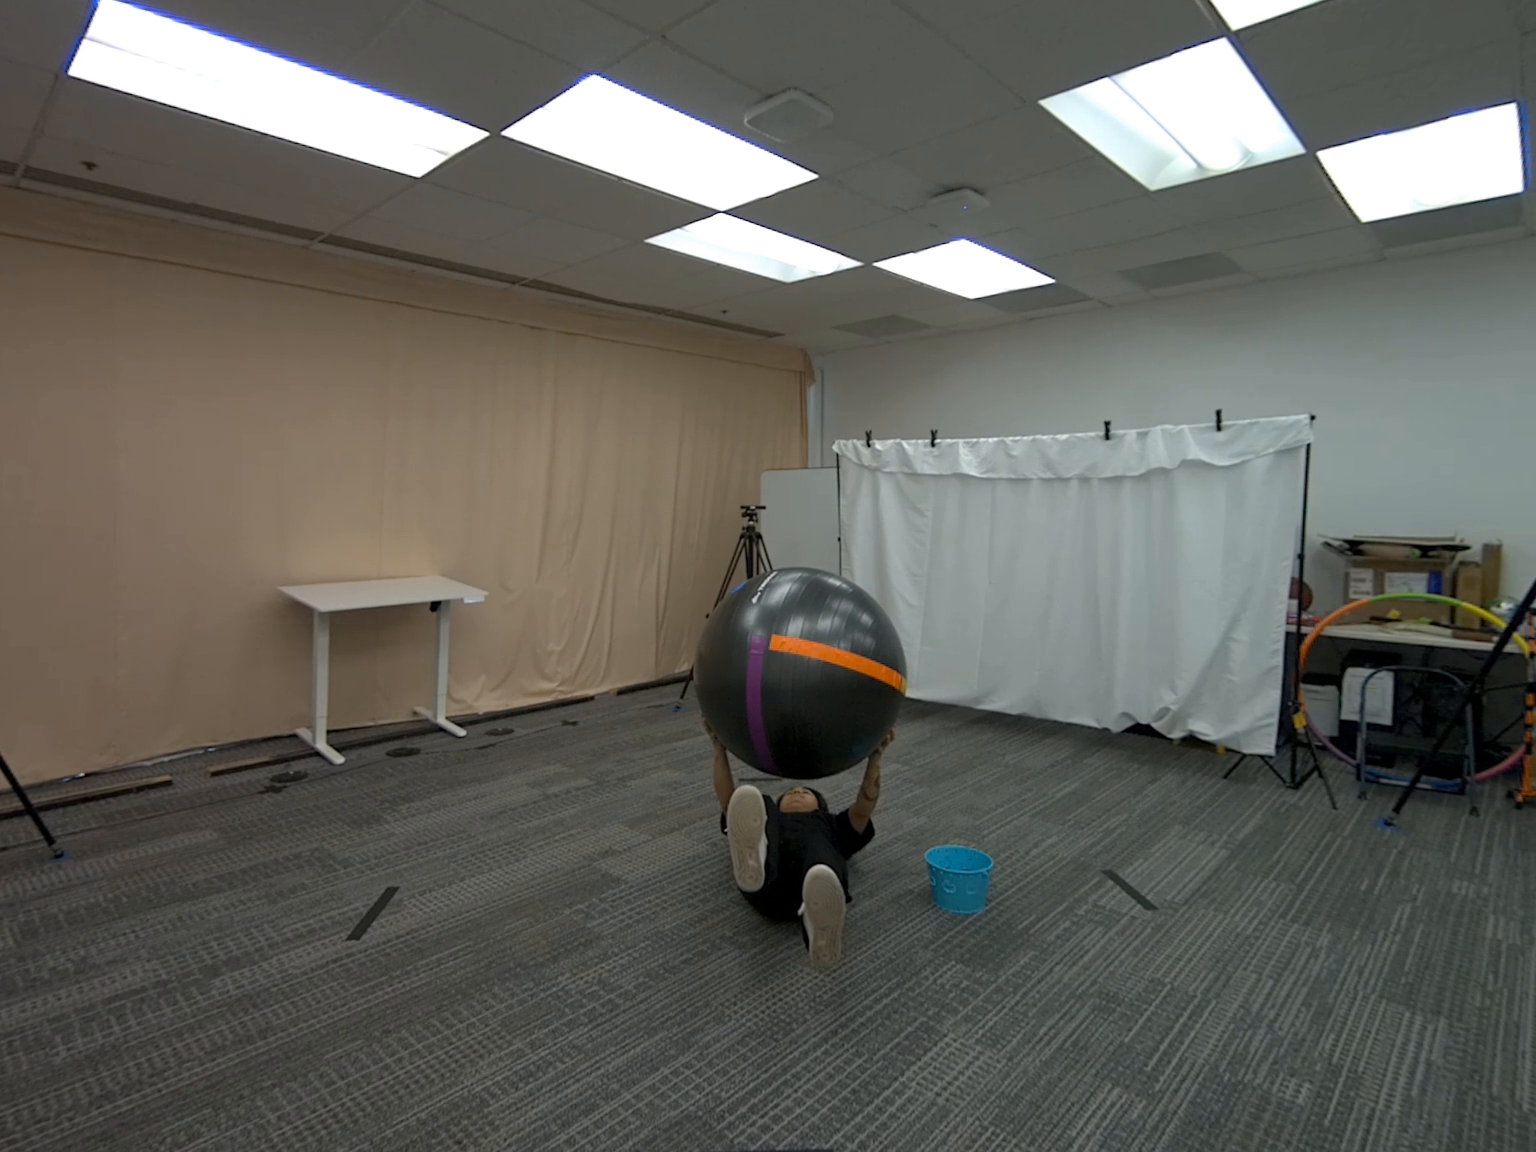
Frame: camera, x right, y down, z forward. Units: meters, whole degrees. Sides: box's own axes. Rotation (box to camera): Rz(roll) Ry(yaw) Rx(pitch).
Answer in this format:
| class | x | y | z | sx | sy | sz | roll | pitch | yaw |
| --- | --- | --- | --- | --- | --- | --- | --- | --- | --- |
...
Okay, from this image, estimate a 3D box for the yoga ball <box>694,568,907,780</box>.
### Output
| class | x | y | z | sx | sy | sz | roll | pitch | yaw |
| --- | --- | --- | --- | --- | --- | --- | --- | --- | --- |
| yoga ball | 0.112 | 0.353 | 3.051 | 0.757 | 0.756 | 0.760 | 0 | 4 | -2 |
